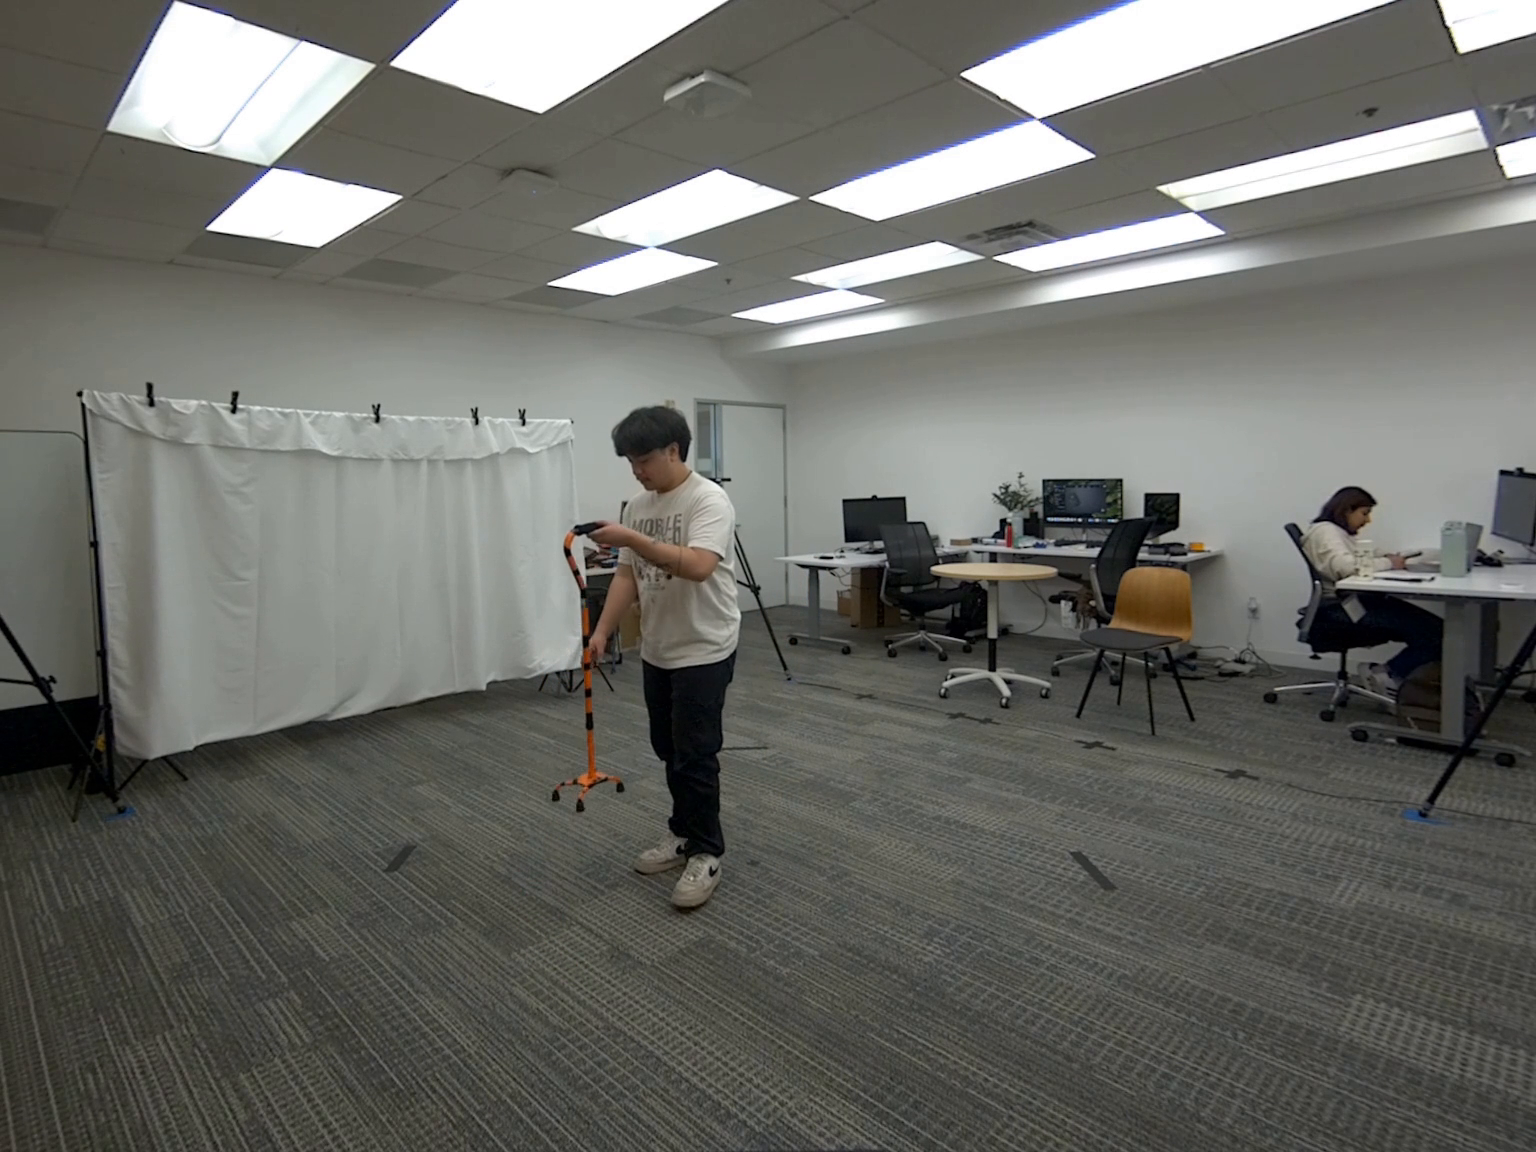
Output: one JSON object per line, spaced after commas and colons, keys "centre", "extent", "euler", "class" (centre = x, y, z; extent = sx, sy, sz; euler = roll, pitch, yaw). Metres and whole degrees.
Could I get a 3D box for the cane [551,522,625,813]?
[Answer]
{"centre": [-0.594, 0.298, 2.772], "extent": [0.156, 0.901, 0.202], "euler": [6, 10, 34], "class": "cane"}
